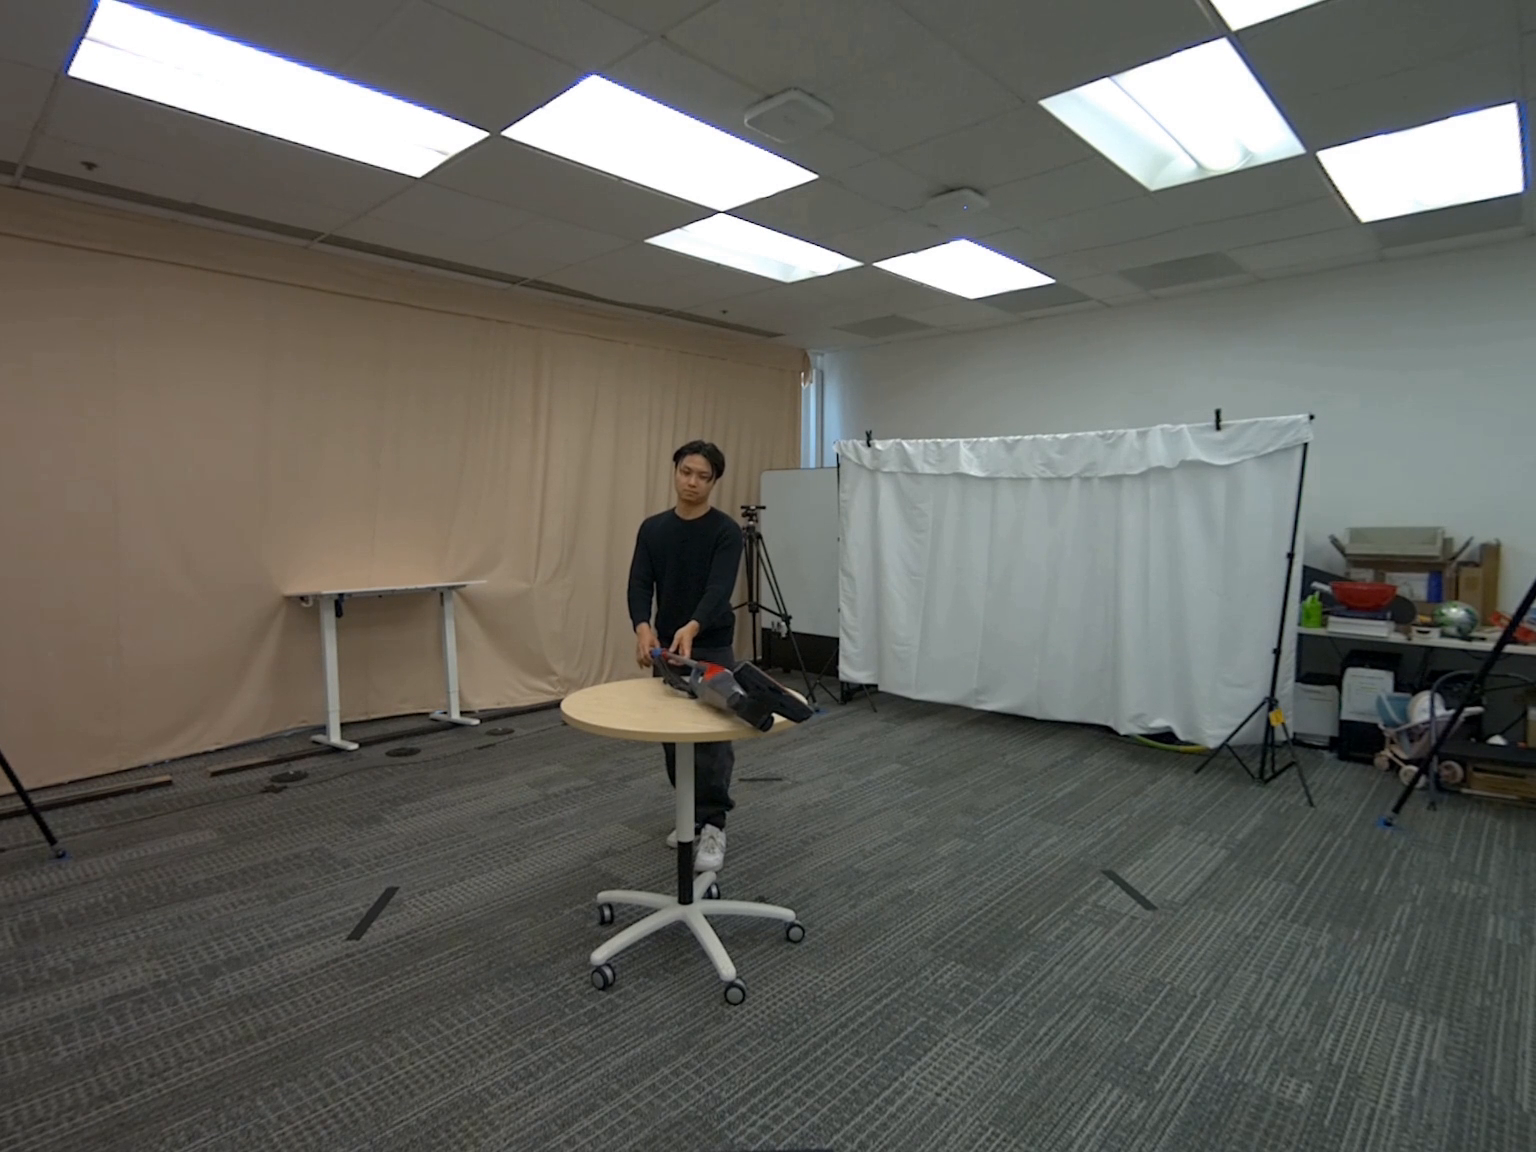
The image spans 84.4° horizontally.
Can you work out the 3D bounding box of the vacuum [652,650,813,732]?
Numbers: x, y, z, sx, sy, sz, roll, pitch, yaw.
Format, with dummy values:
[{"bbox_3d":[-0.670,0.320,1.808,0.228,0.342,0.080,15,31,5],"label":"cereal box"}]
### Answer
[{"bbox_3d":[-0.243,0.337,2.736,0.246,0.144,1.076,38,-16,-23],"label":"vacuum"}]
